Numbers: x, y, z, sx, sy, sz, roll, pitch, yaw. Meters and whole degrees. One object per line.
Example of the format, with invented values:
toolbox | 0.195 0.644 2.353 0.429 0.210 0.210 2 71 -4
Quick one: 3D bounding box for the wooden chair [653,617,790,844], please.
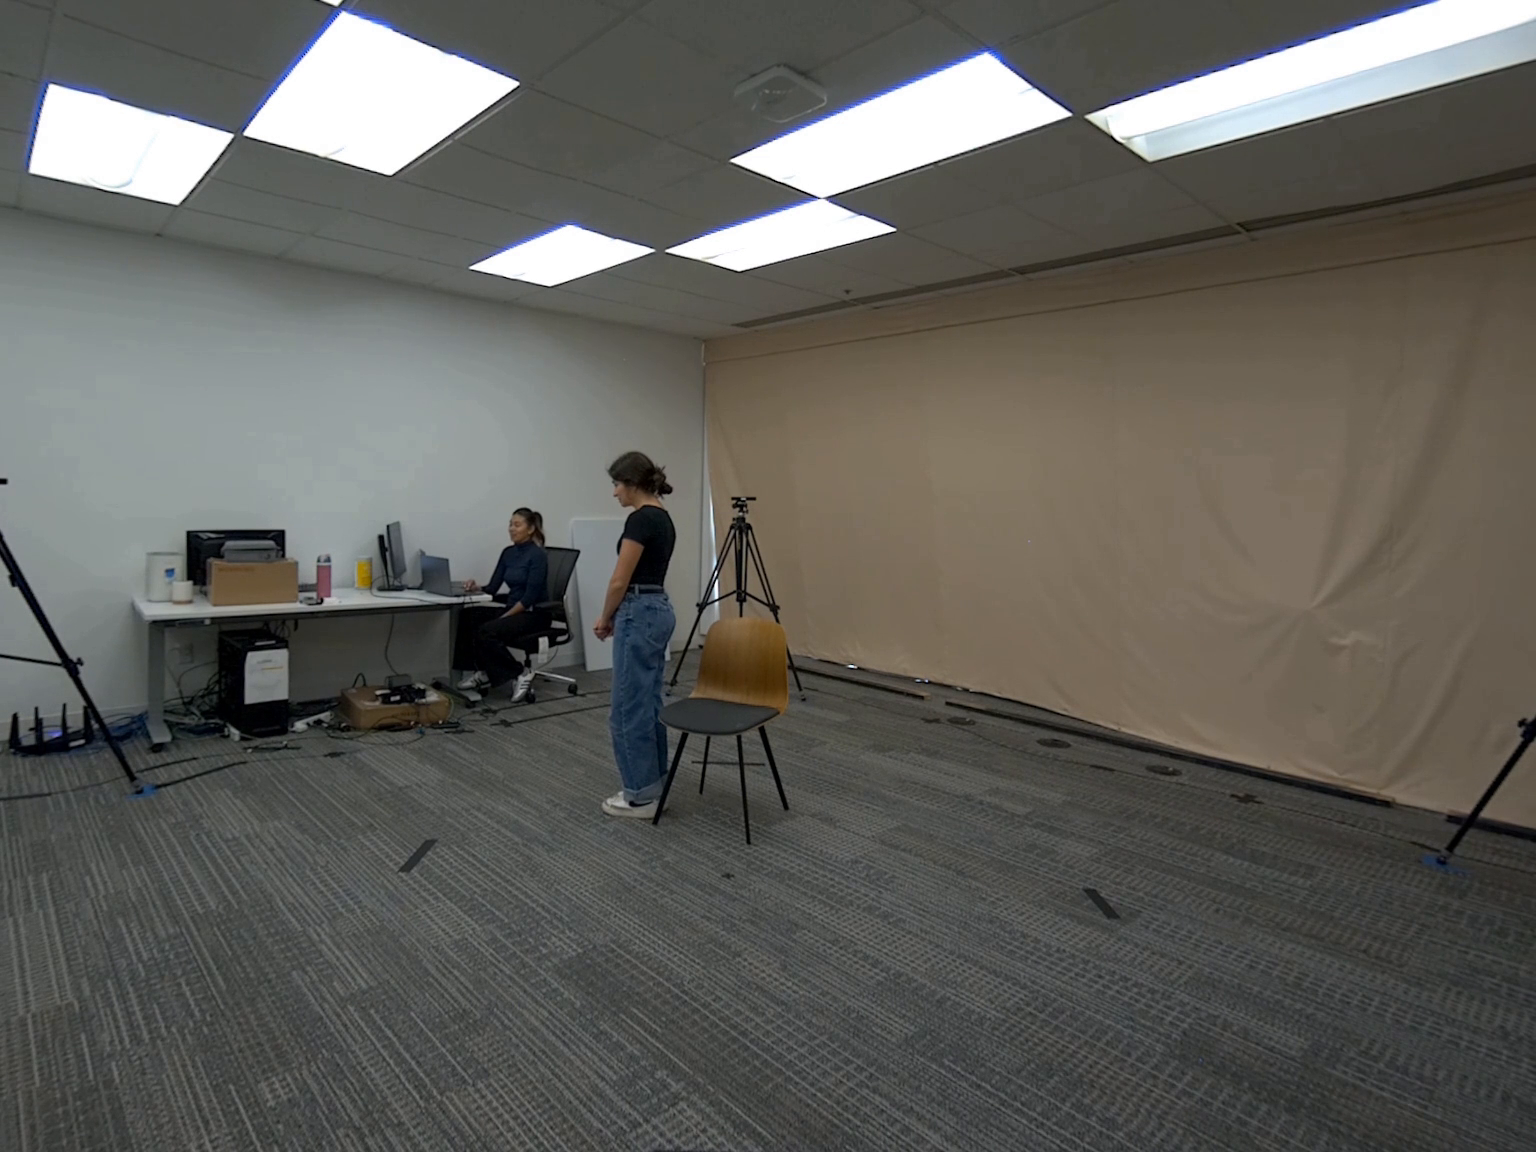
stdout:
wooden chair | -0.192 0.631 3.651 0.487 0.878 0.513 3 -1 24
